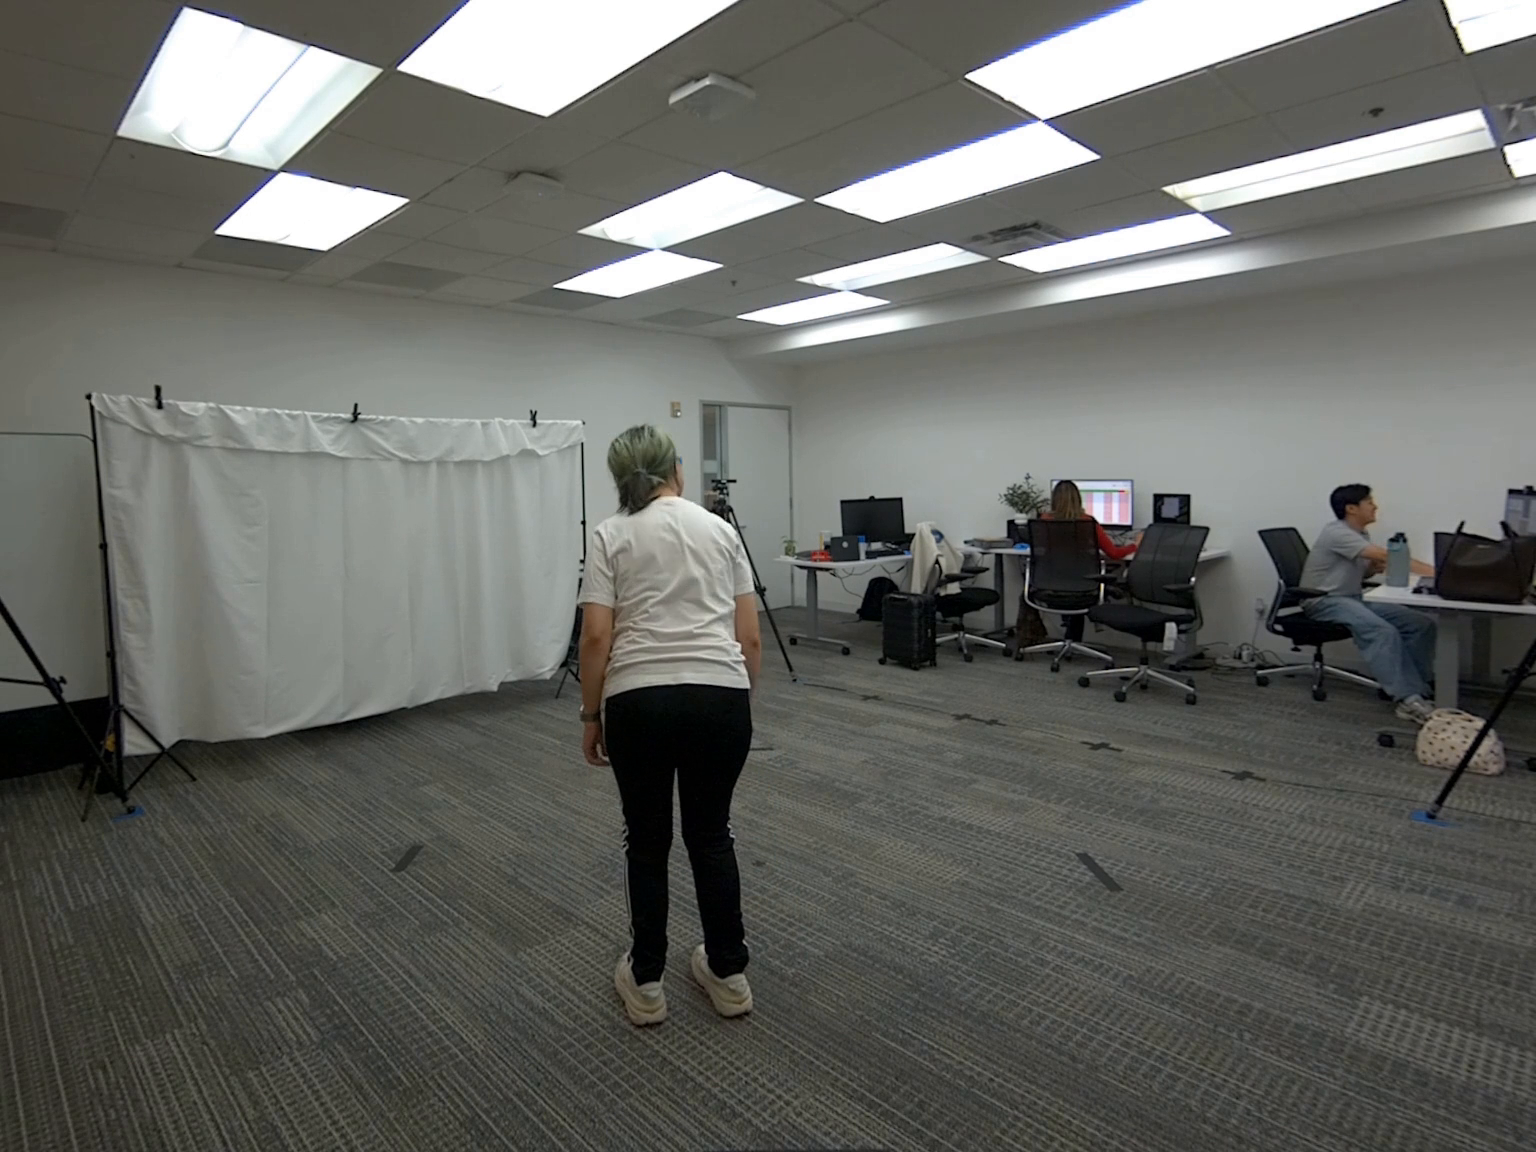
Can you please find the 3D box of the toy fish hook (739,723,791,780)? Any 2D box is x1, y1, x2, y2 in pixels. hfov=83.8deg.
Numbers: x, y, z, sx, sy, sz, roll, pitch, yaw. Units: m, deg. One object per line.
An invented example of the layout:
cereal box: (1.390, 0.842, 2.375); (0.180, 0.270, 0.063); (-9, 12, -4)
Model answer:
toy fish hook: (-0.183, 0.520, 2.597); (0.517, 0.219, 0.048); (-15, 30, 48)
